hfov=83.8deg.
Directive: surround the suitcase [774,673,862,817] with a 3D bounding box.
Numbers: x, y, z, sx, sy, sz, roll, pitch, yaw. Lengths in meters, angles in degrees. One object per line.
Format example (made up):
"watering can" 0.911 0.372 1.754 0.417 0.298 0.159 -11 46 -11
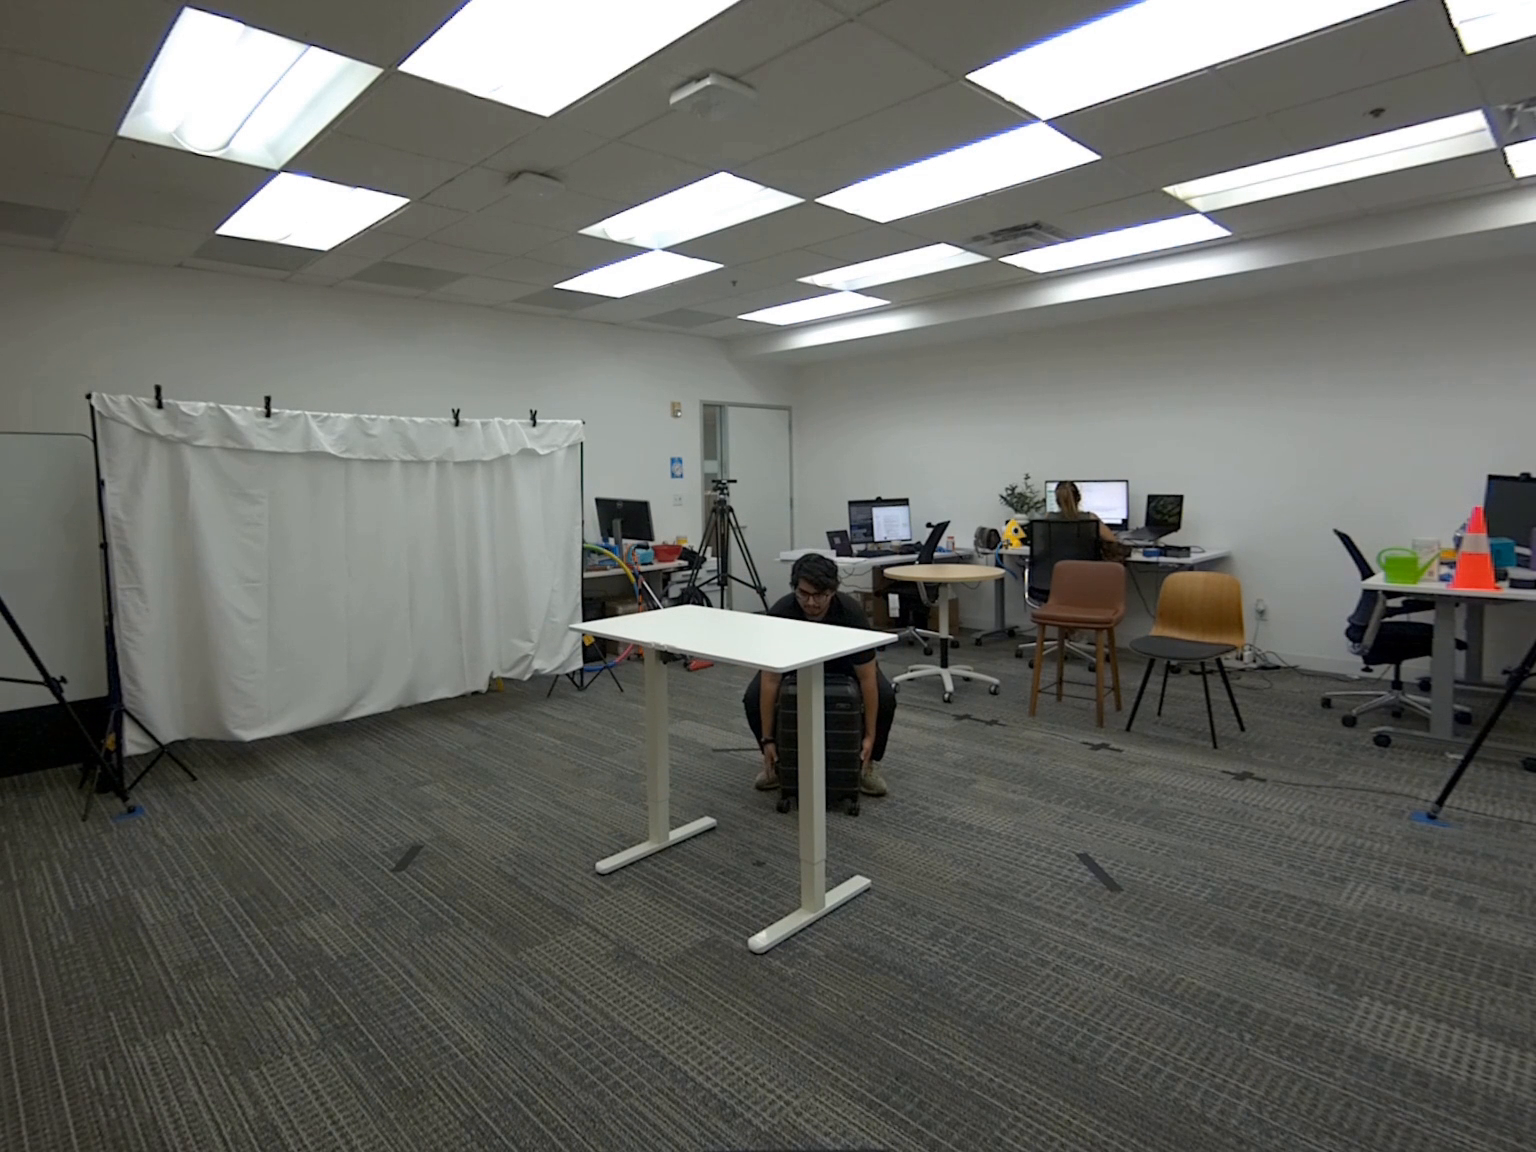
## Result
"suitcase" 0.224 0.705 3.682 0.377 0.548 0.247 1 2 5
